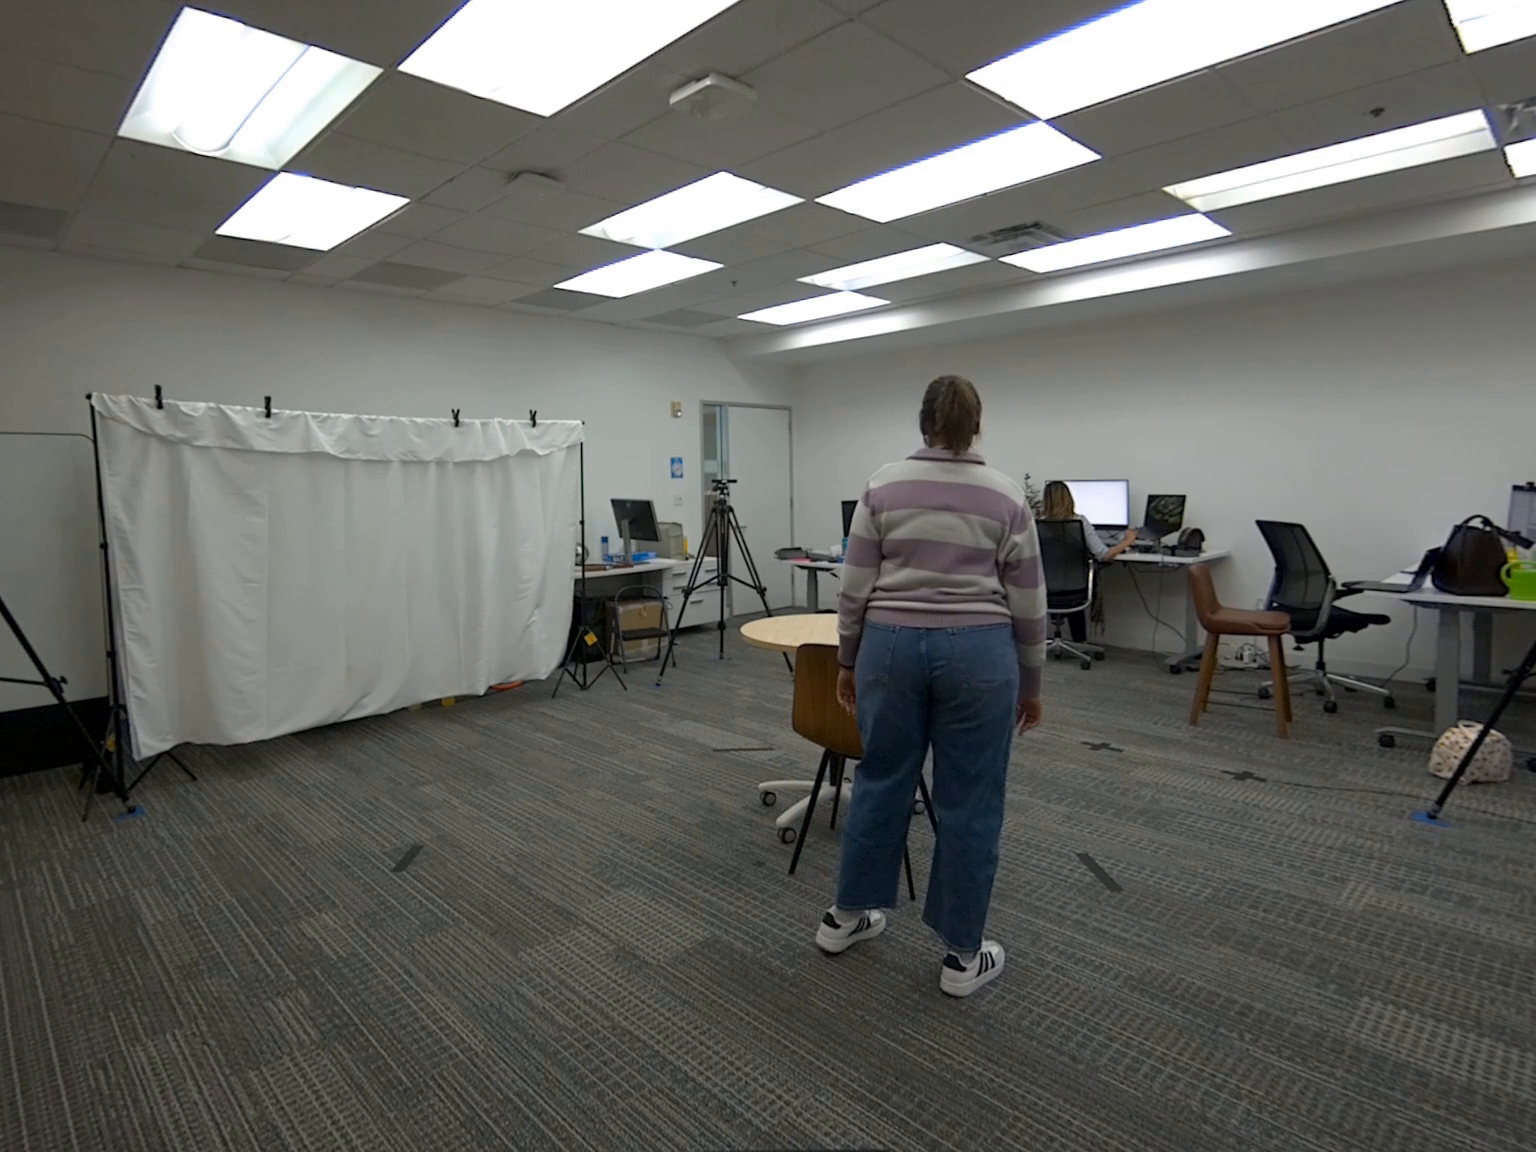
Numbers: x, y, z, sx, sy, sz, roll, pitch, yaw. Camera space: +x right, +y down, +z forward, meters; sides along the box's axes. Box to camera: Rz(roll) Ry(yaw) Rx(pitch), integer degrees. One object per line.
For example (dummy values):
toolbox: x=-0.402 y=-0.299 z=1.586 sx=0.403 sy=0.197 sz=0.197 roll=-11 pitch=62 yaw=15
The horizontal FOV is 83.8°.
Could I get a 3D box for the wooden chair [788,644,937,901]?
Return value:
wooden chair: x=0.360 y=0.617 z=3.093 sx=0.489 sy=0.872 sz=0.514 roll=1 pitch=8 yaw=26
